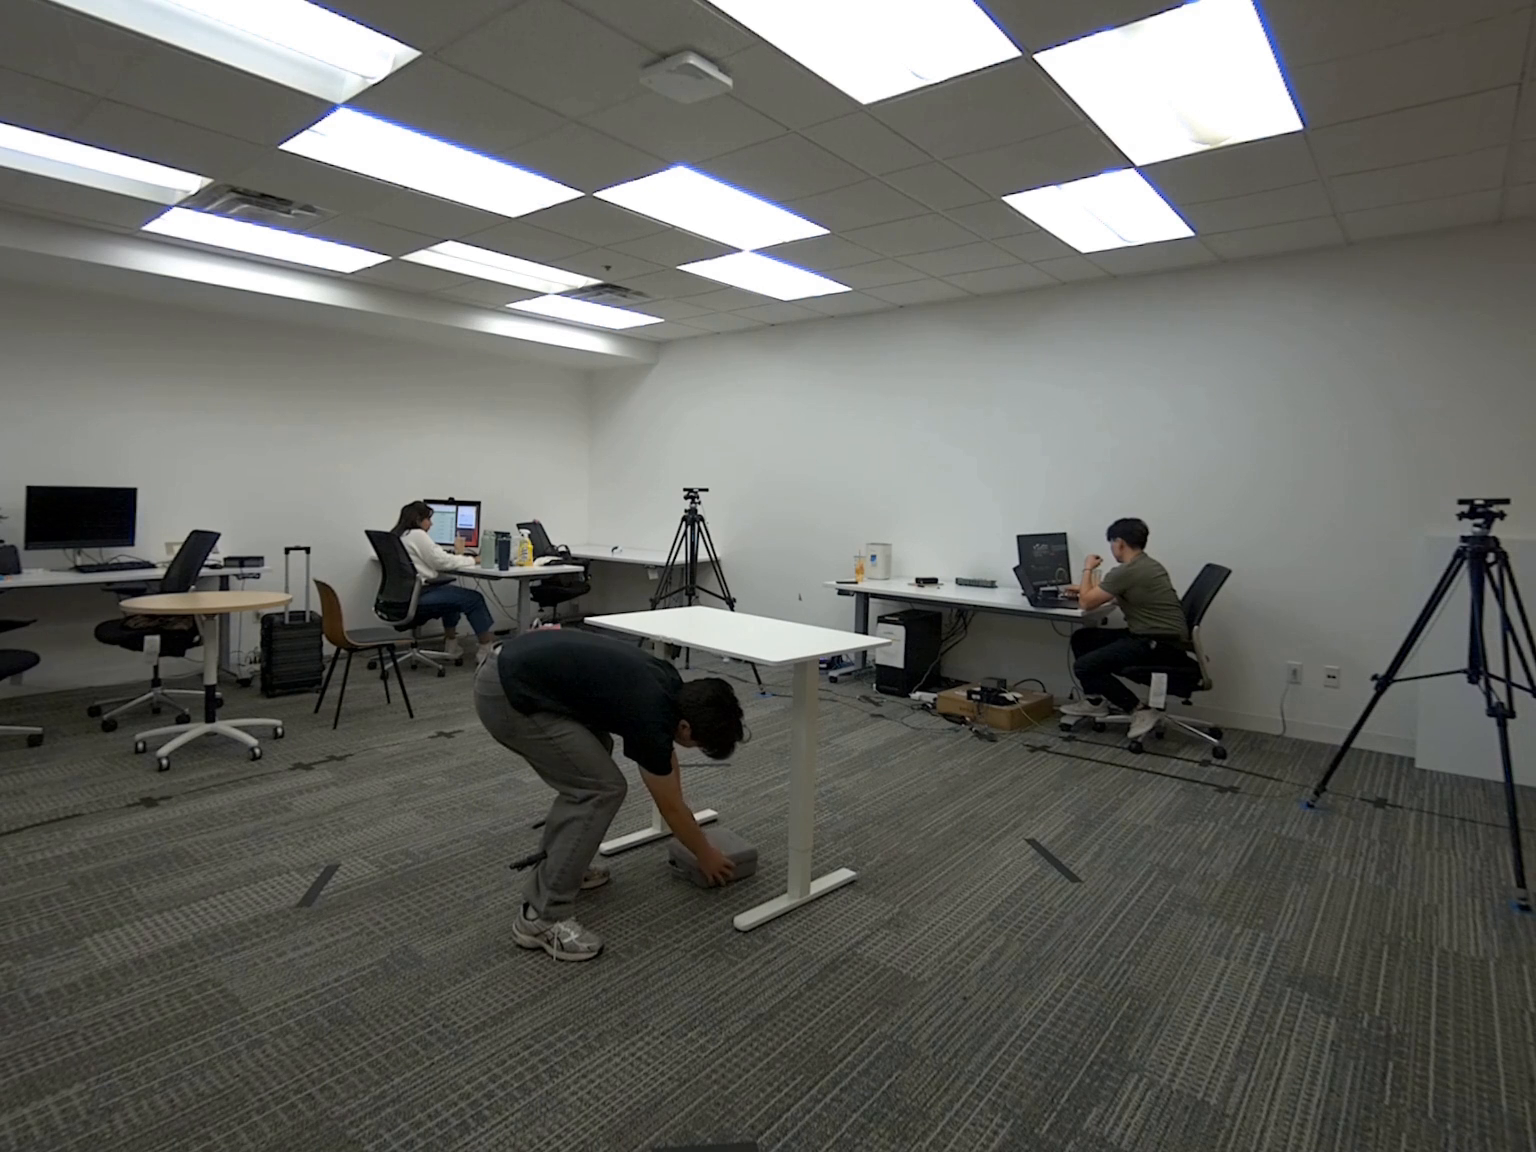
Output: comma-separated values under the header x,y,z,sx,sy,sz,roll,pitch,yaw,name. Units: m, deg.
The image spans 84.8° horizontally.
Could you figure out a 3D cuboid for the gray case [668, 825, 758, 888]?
x,y,z,sx,sy,sz,roll,pitch,yaw,name
-0.204,1.016,3.103,0.279,0.103,0.272,0,5,-32,gray case
